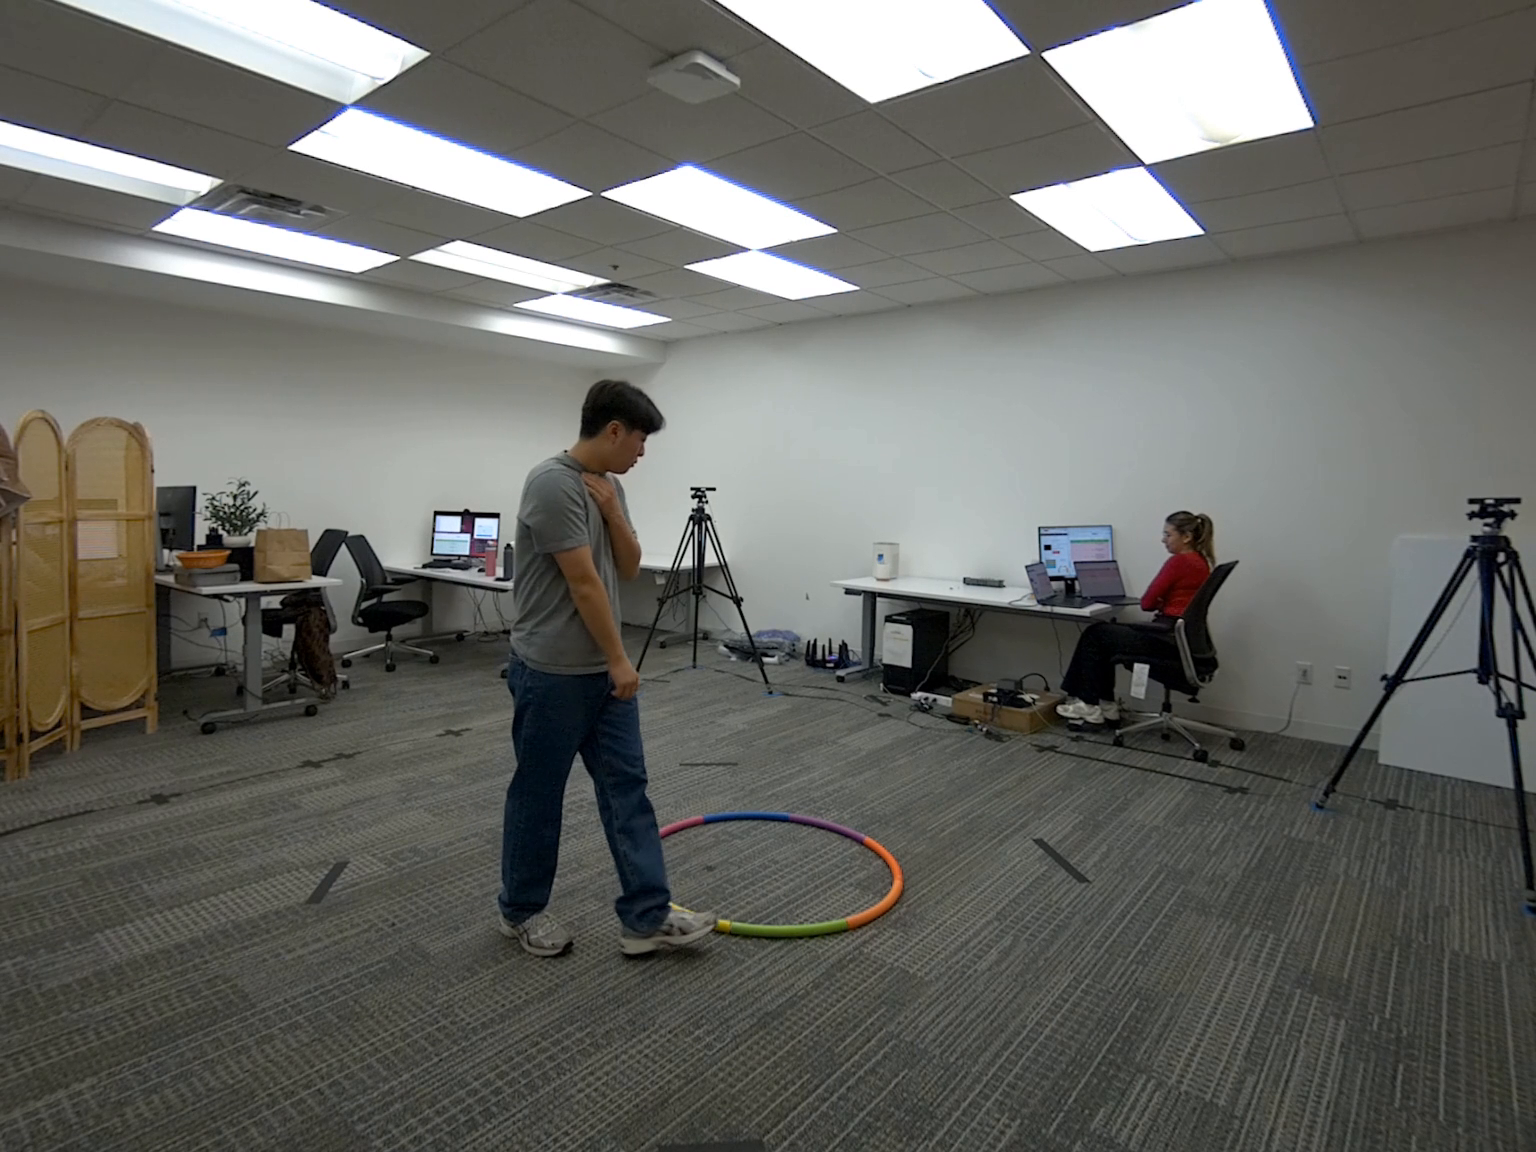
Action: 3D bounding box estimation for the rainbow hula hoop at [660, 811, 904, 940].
[{"bbox_3d":[-0.017,1.039,3.101,0.978,0.035,0.984,1,5,-2],"label":"rainbow hula hoop"}]
